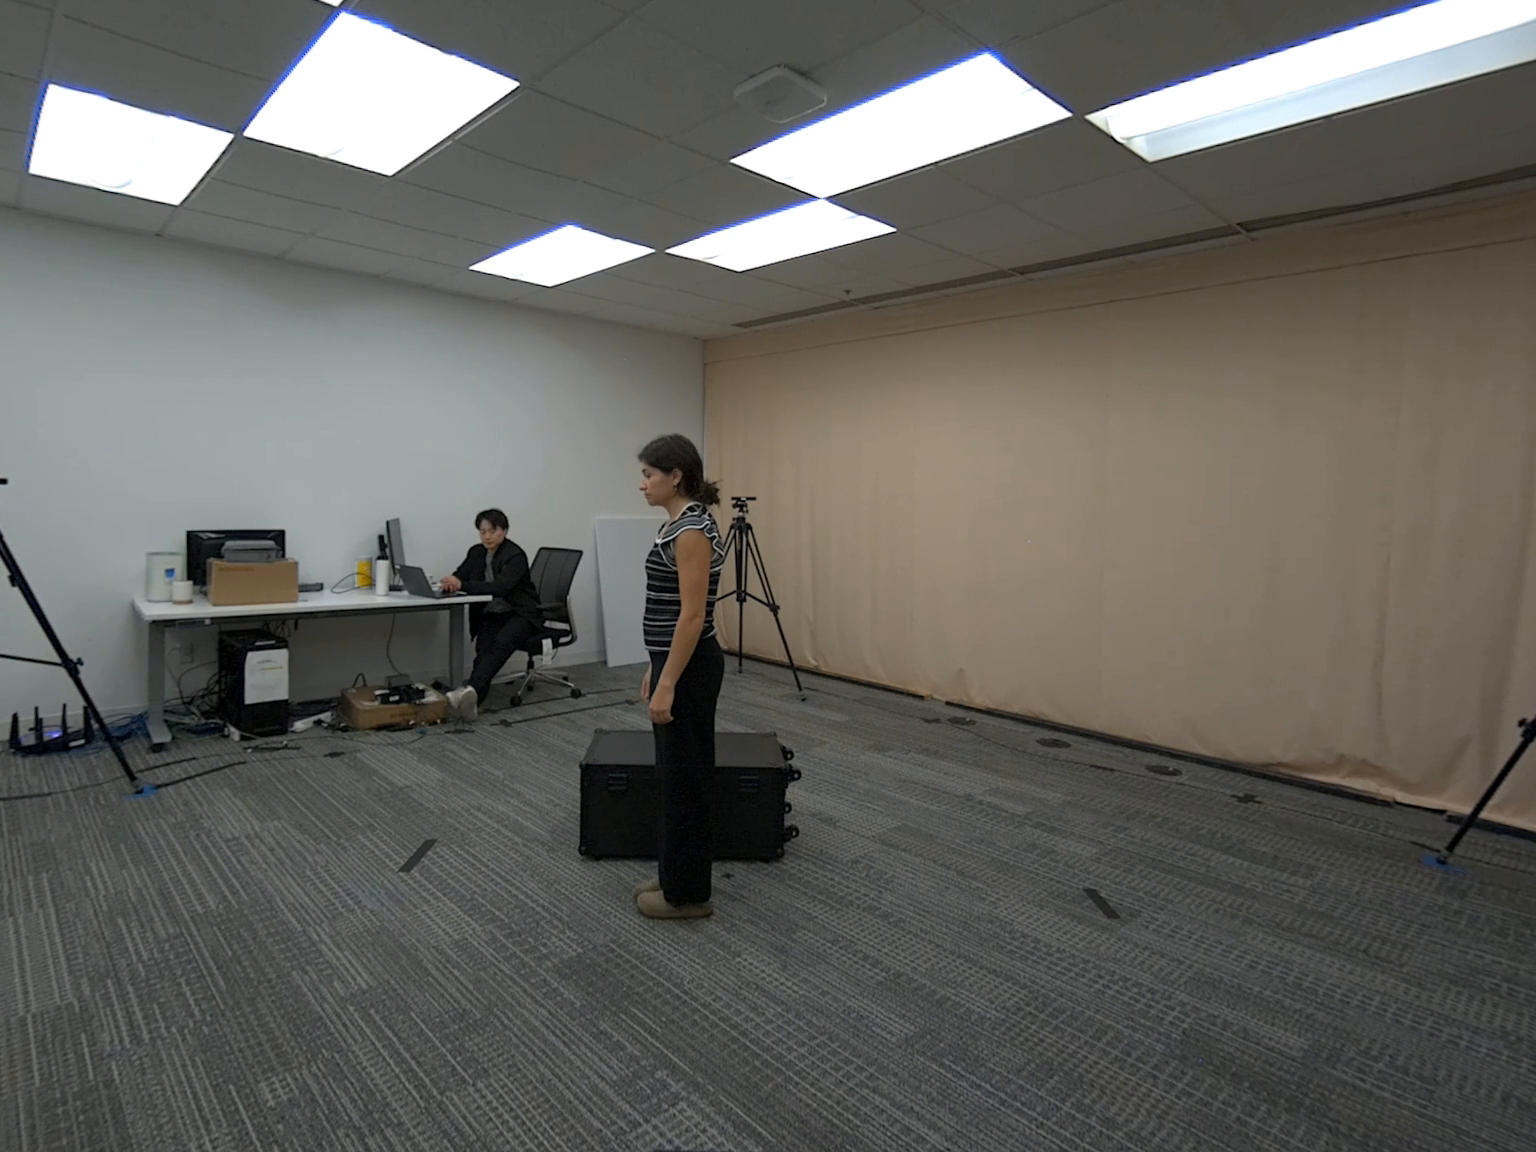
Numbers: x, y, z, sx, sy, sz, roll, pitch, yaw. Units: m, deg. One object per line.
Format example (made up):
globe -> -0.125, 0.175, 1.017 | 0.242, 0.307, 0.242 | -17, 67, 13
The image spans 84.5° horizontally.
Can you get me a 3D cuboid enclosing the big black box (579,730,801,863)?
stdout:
big black box -> -0.315, 0.881, 3.432 | 0.859, 0.395, 0.524 | 1, 5, -3
